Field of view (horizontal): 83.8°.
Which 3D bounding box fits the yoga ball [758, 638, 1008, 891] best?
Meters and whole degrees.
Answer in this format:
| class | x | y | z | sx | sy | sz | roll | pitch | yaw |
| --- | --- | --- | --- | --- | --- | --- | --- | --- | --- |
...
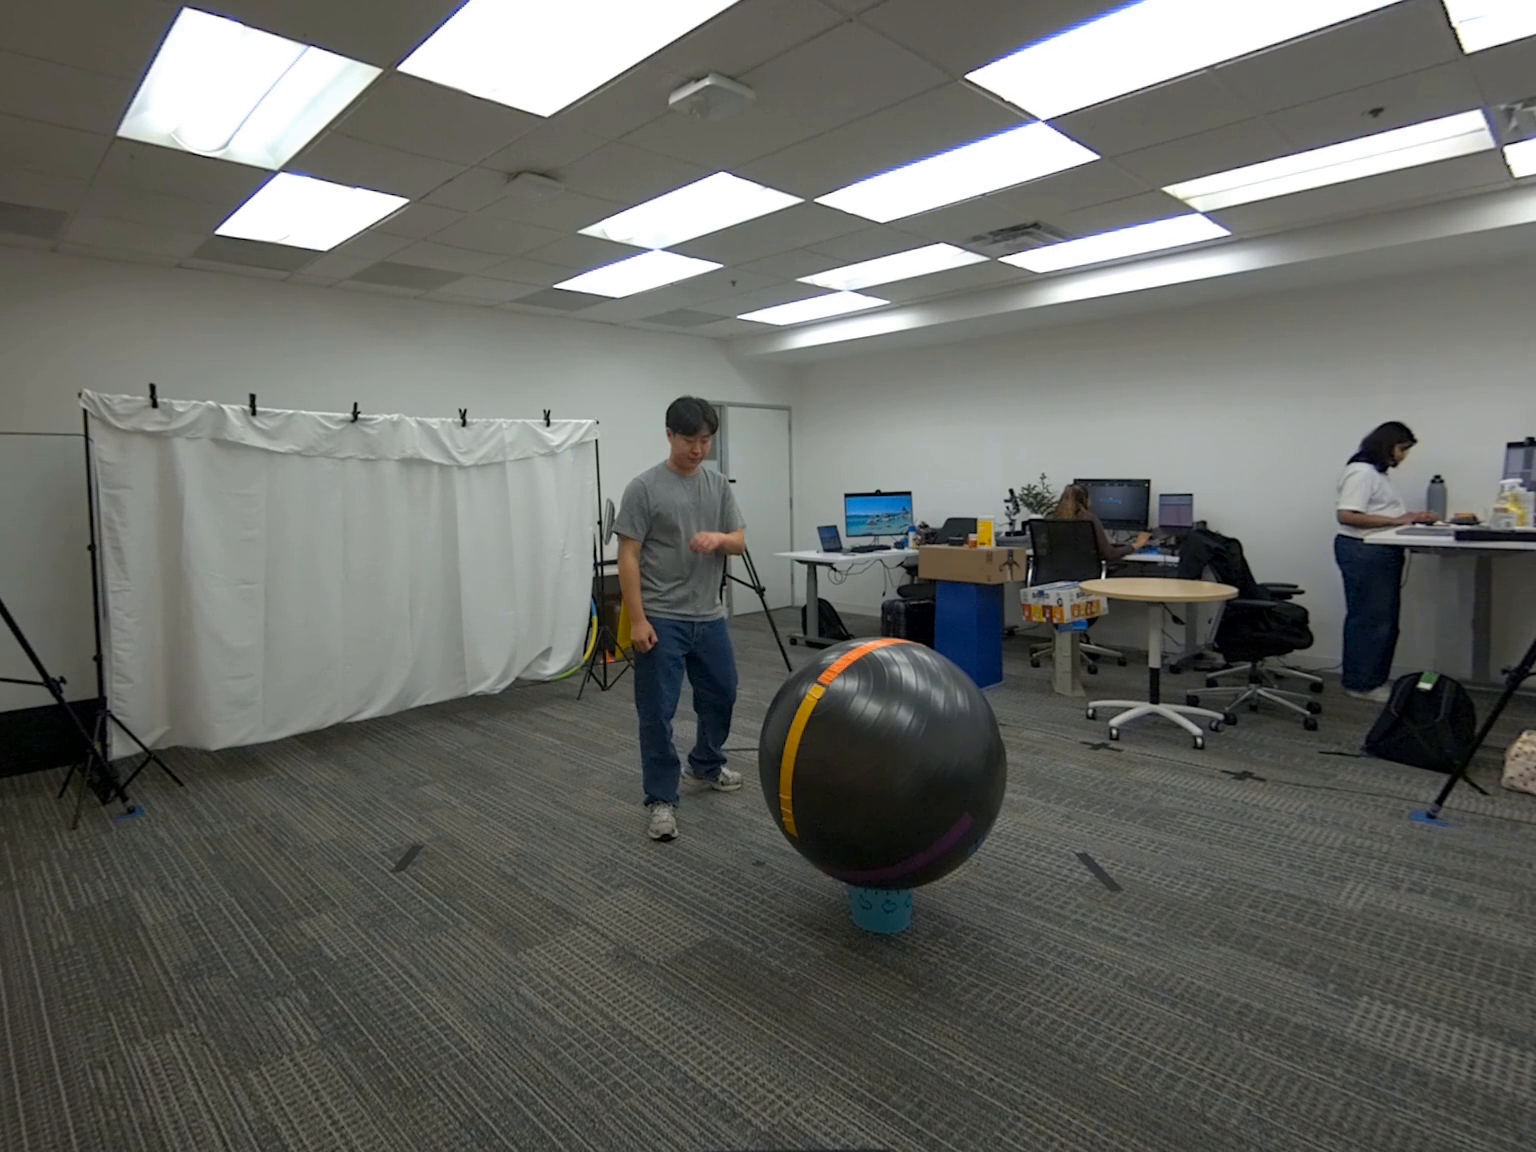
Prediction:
| class | x | y | z | sx | sy | sz | roll | pitch | yaw |
| --- | --- | --- | --- | --- | --- | --- | --- | --- | --- |
| yoga ball | 0.356 | 0.579 | 2.663 | 0.757 | 0.755 | 0.762 | -1 | 5 | -2 |
